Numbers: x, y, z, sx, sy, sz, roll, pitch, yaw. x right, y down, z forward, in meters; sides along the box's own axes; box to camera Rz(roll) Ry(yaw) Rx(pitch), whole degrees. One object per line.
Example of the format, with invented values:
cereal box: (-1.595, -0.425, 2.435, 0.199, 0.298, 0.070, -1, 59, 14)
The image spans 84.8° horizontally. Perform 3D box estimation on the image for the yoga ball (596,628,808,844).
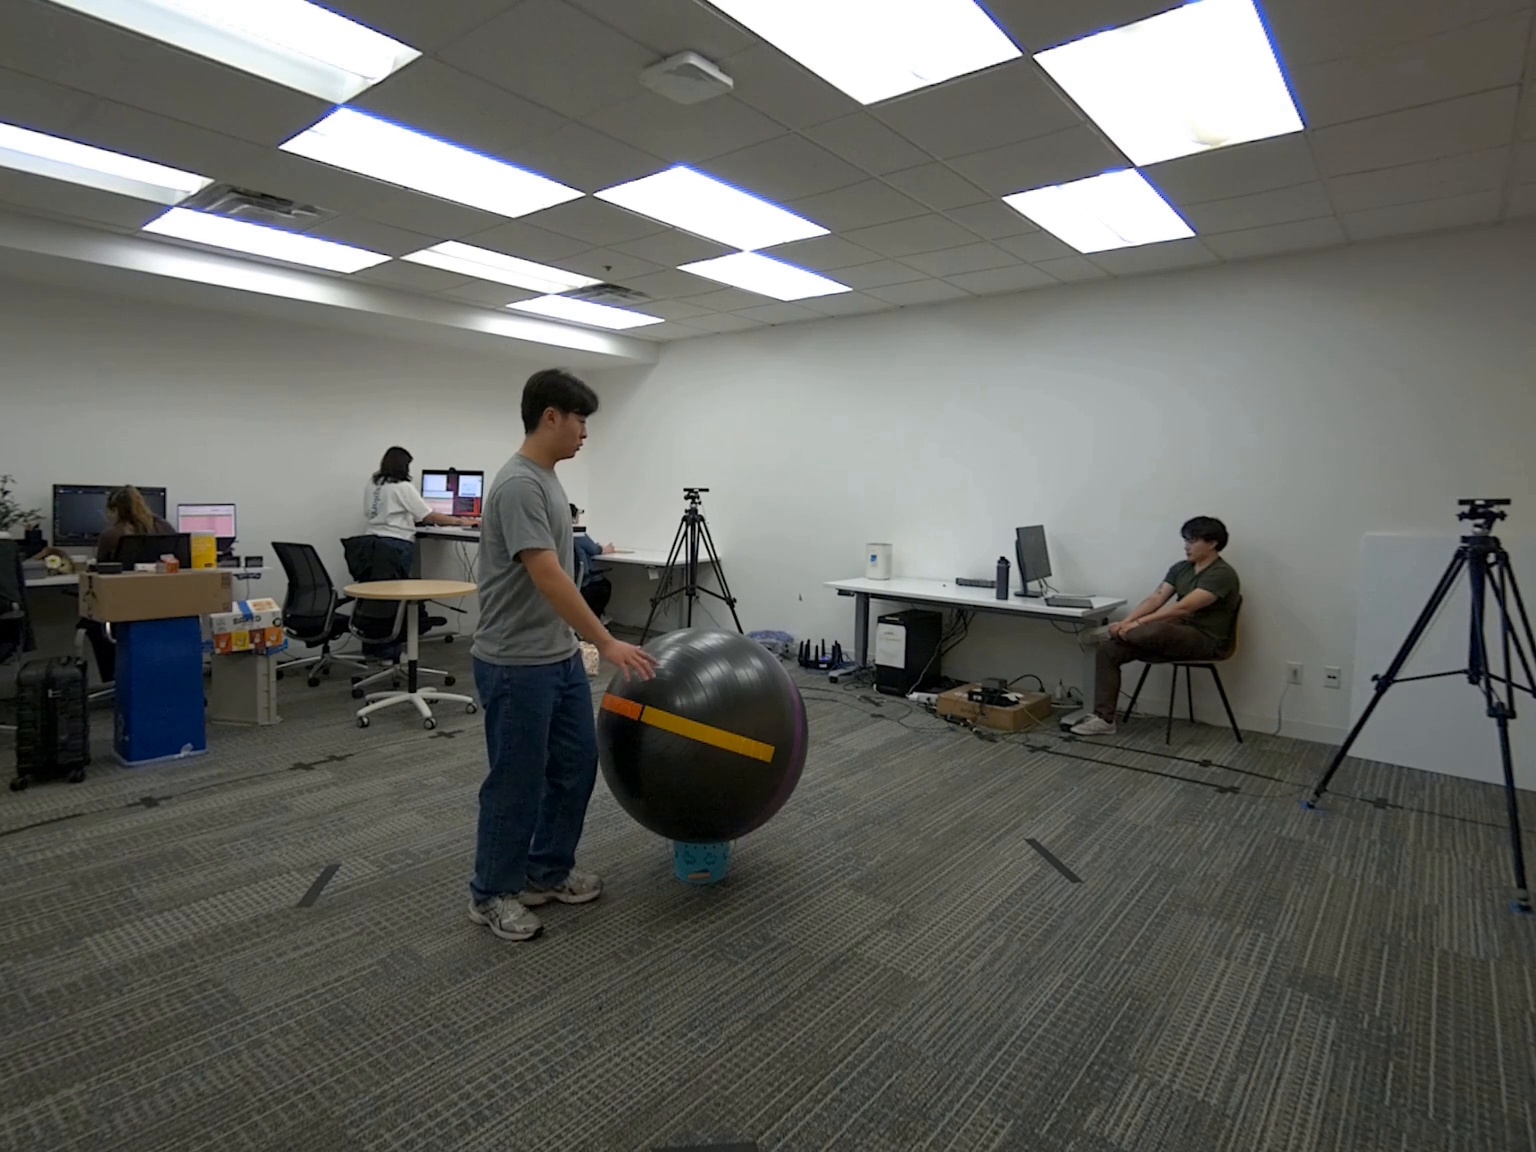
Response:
yoga ball: (-0.247, 0.560, 3.058, 0.757, 0.755, 0.762, 1, 4, -2)
